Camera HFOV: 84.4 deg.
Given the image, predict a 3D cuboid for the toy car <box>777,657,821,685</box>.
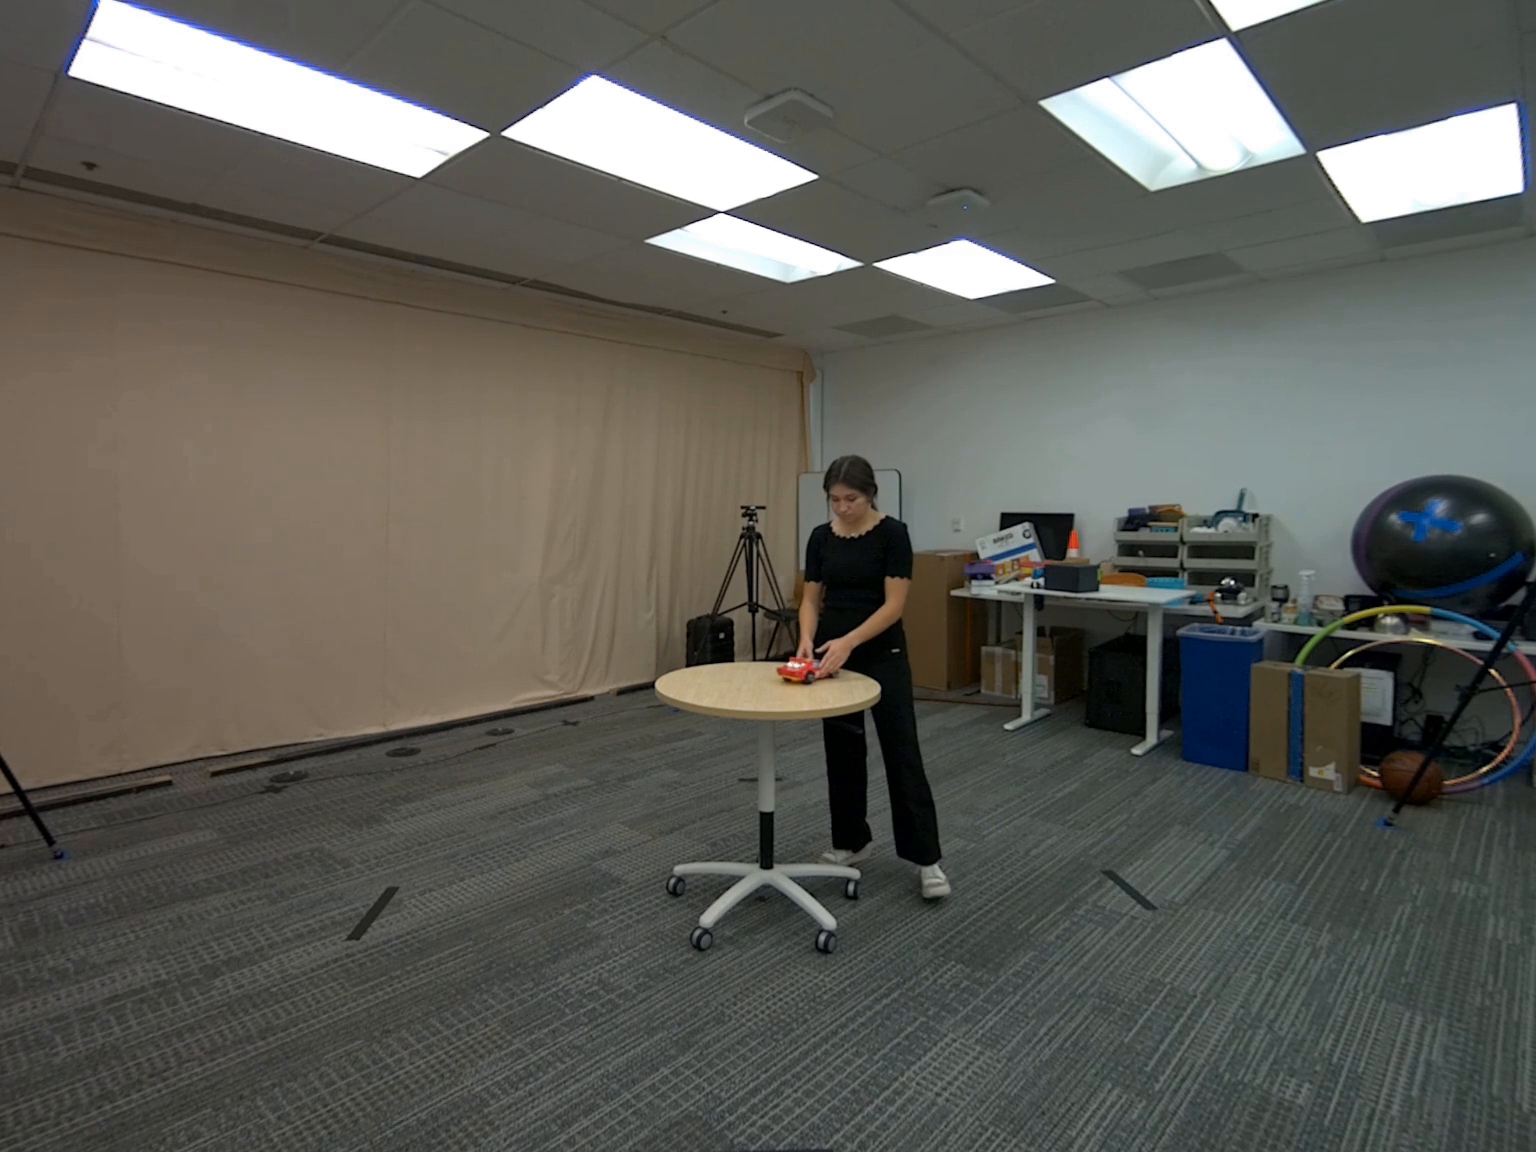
[{"bbox_3d":[0.136,0.334,2.932,0.135,0.083,0.245,5,-6,43],"label":"toy car"}]
